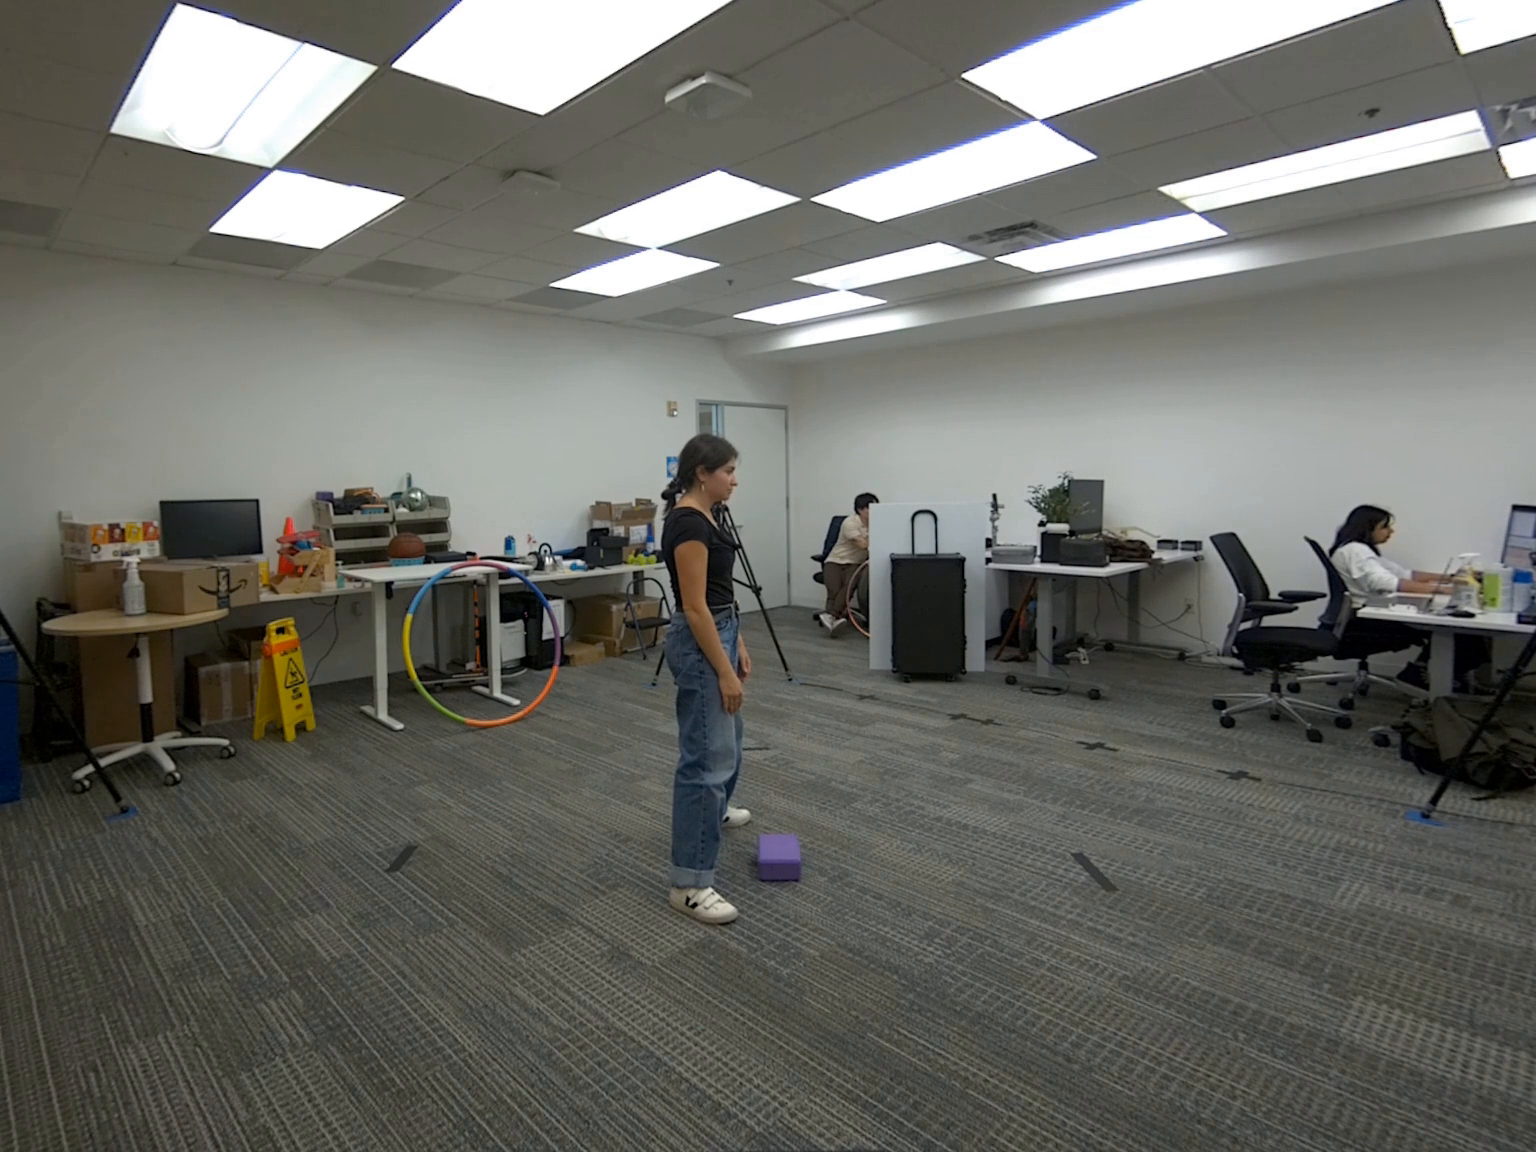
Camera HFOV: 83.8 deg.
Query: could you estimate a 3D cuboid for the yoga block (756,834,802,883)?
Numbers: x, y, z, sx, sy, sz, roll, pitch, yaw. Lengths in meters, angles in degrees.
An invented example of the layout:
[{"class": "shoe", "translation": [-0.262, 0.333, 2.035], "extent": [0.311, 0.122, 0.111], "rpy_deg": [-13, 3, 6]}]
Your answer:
[{"class": "yoga block", "translation": [0.040, 1.009, 3.073], "extent": [0.149, 0.076, 0.230], "rpy_deg": [0, 7, 0]}]
